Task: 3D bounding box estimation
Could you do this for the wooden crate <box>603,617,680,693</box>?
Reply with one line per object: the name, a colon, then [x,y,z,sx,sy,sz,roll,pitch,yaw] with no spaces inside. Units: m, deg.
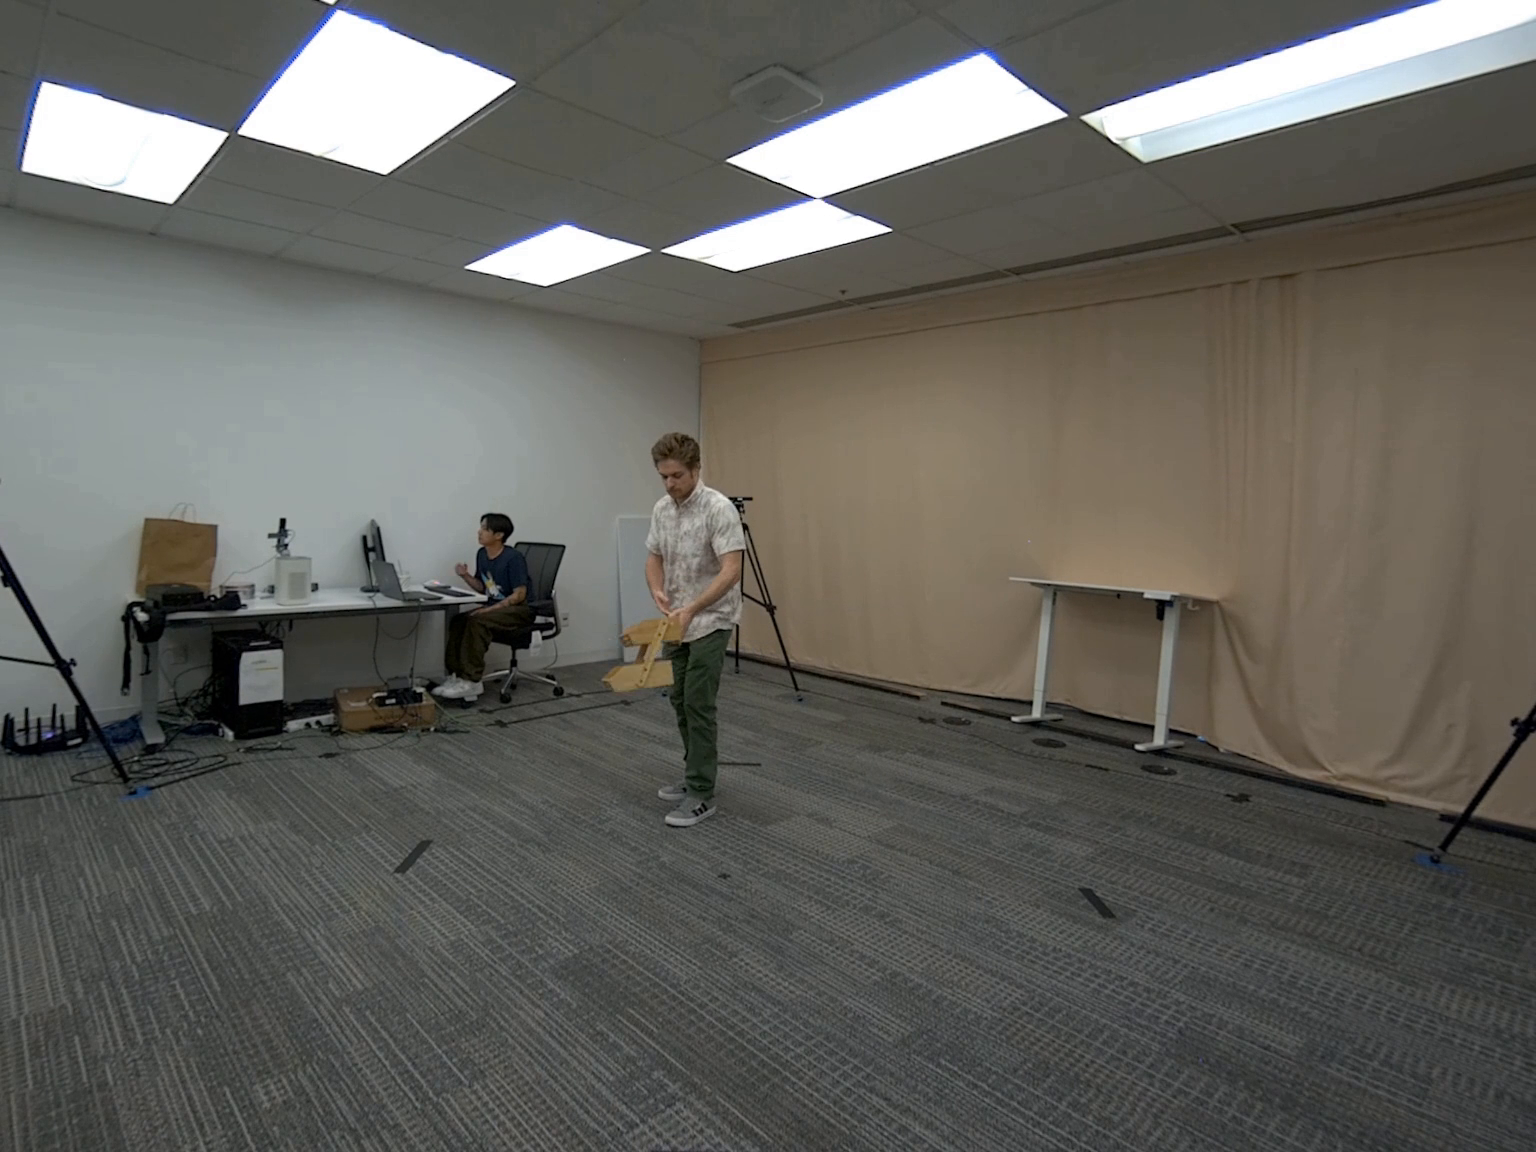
wooden crate: [-0.536,0.323,3.418,0.299,0.275,0.326,-6,-5,-16]
